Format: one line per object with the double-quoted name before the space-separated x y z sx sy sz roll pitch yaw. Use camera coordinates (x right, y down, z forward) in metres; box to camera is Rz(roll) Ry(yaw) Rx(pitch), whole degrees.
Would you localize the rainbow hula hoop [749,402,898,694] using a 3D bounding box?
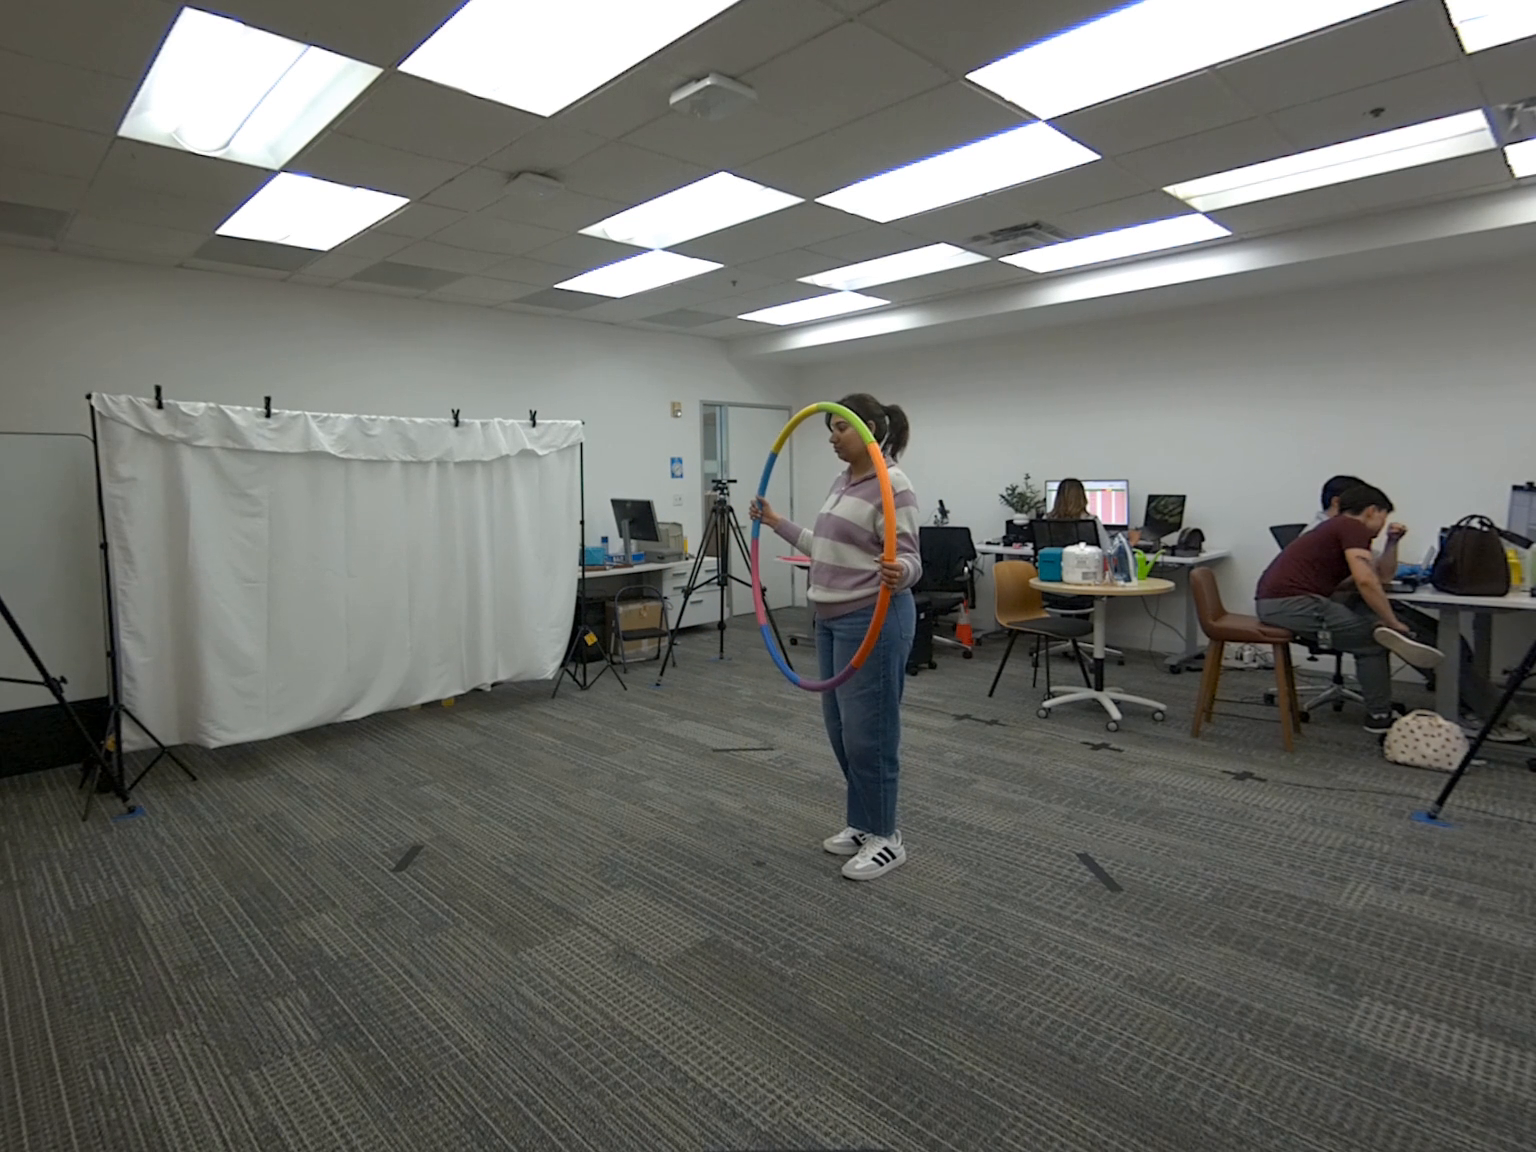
"rainbow hula hoop" 0.153 -0.102 2.953 0.035 0.977 1.003 3 3 -26
